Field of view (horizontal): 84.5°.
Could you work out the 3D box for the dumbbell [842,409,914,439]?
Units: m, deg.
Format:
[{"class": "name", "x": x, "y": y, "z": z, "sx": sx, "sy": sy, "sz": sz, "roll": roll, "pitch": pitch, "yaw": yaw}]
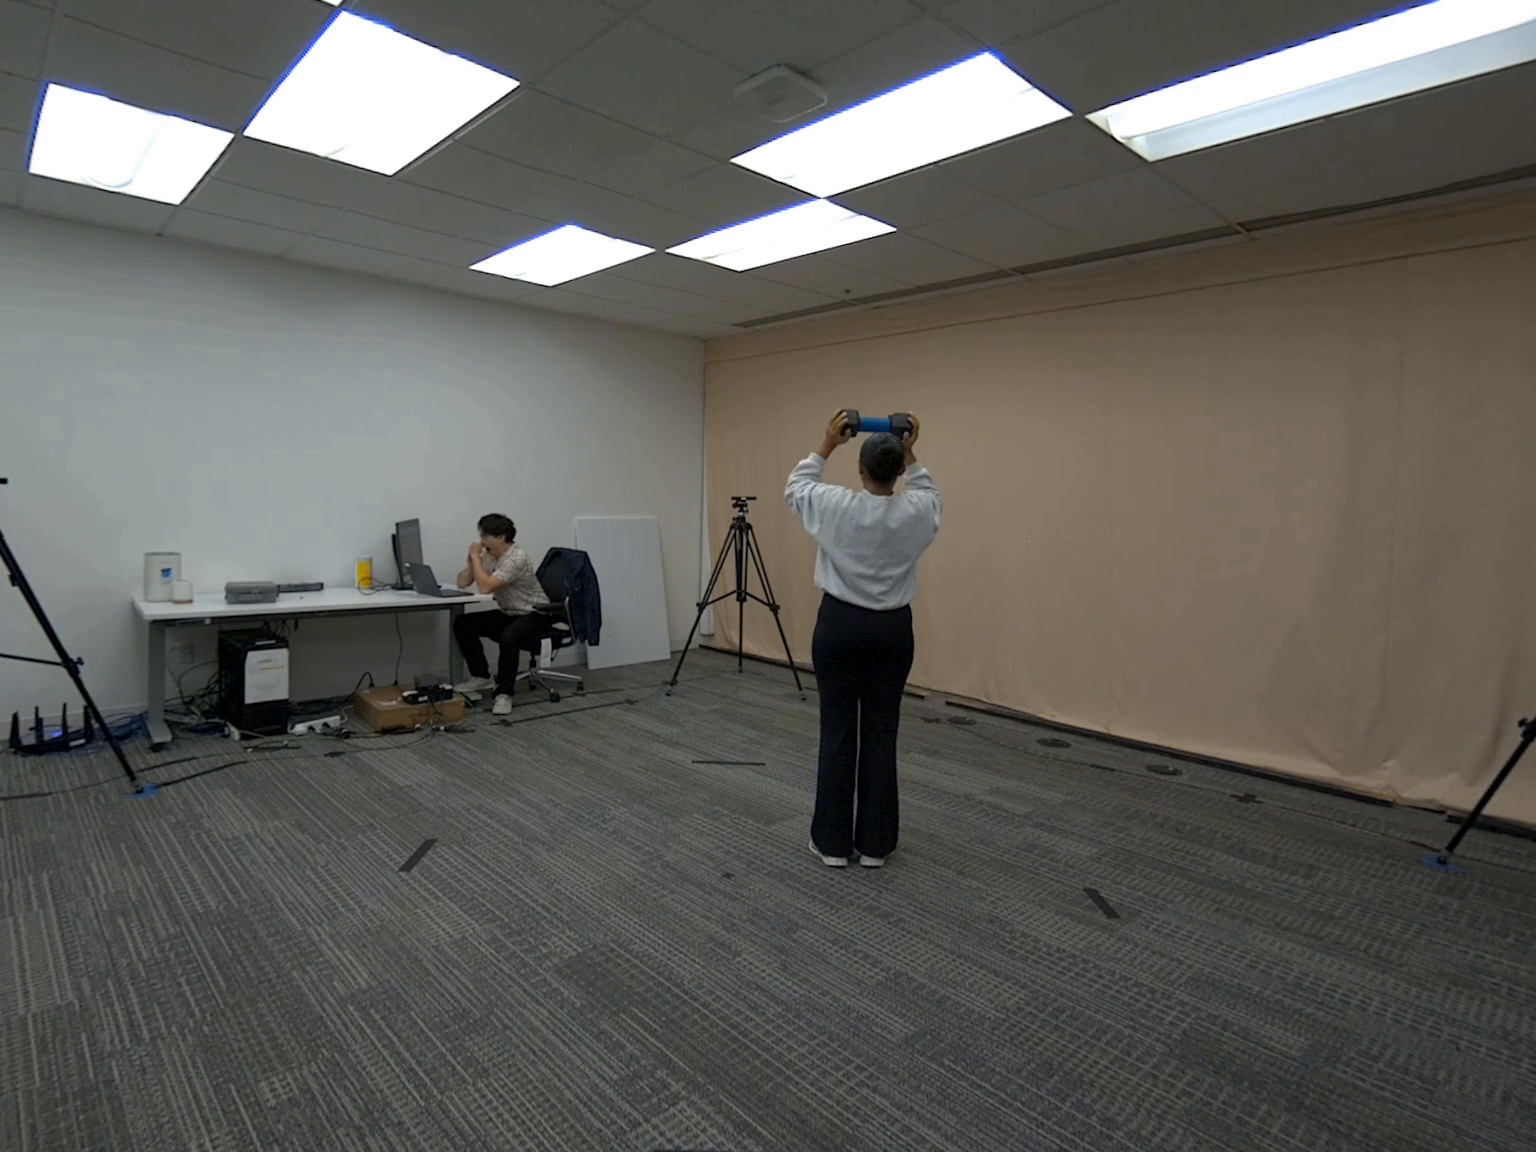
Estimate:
[{"class": "dumbbell", "x": 0.404, "y": -0.592, "z": 3.292, "sx": 0.293, "sy": 0.125, "sz": 0.107, "roll": 4, "pitch": -27, "yaw": -3}]
